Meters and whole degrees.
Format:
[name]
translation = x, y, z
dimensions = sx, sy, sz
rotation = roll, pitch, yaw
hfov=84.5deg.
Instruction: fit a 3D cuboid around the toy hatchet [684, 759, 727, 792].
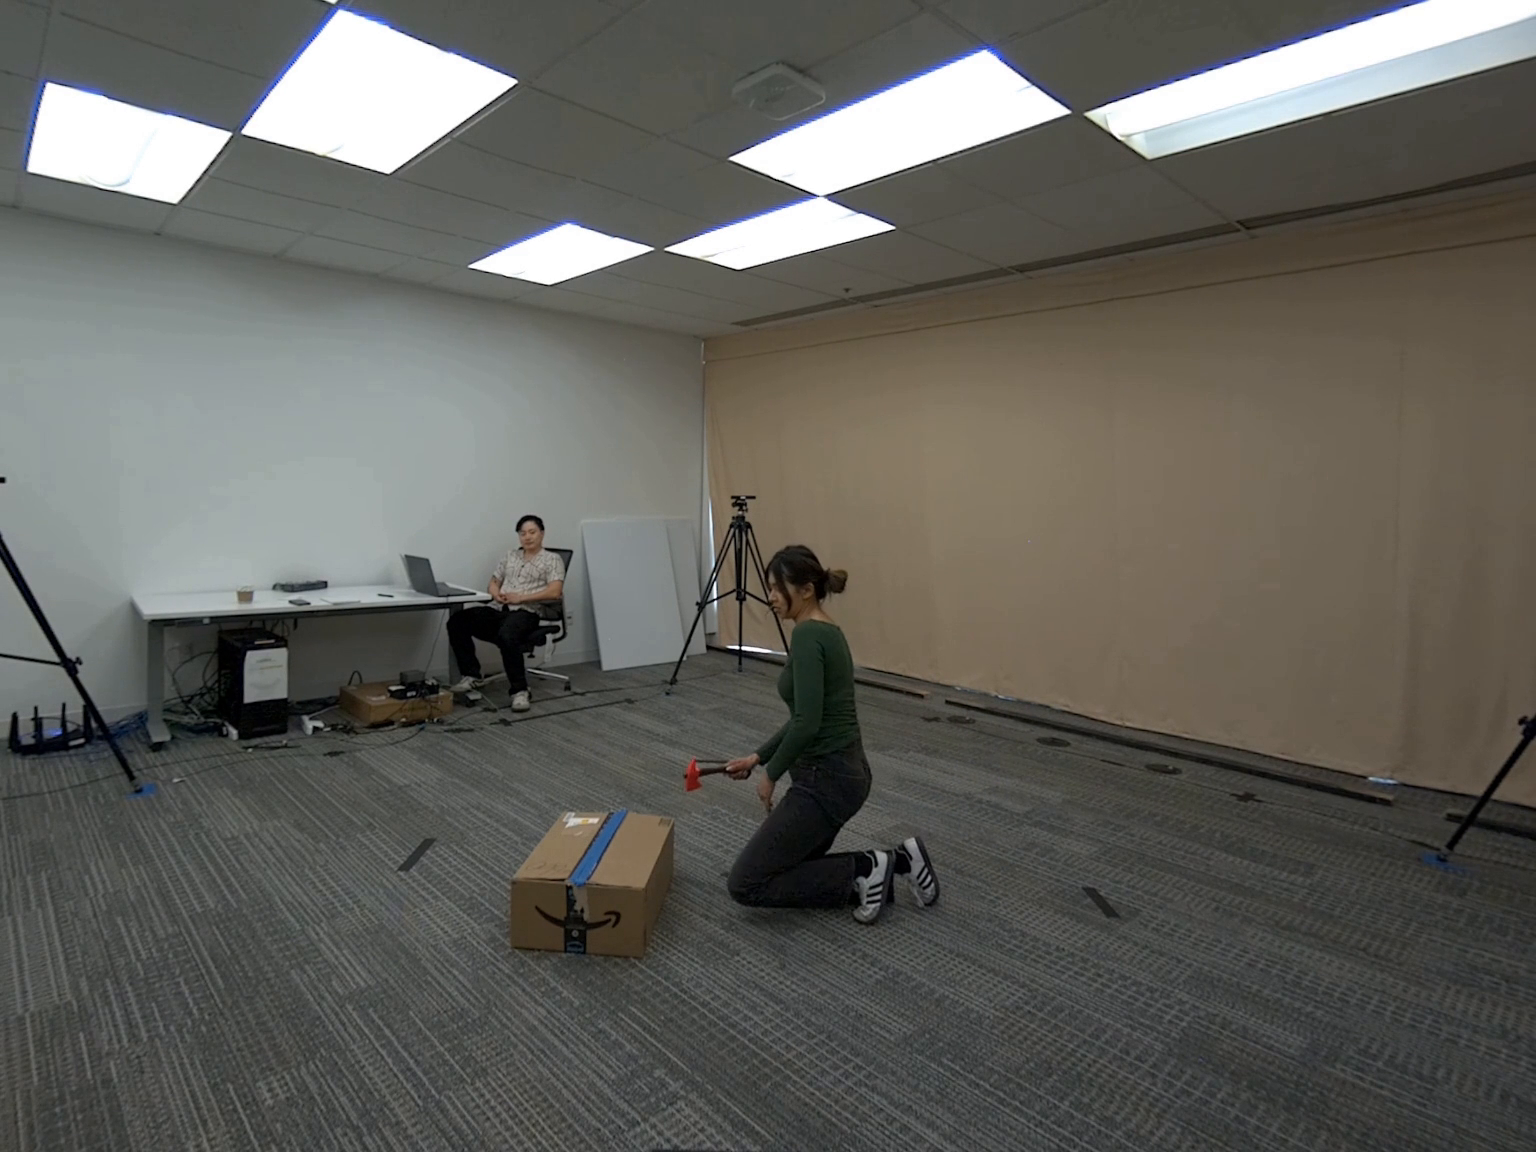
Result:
[toy hatchet]
translation = -0.194, 0.709, 2.930
dimensions = 0.263, 0.131, 0.030
rotation = 24, 11, -28
